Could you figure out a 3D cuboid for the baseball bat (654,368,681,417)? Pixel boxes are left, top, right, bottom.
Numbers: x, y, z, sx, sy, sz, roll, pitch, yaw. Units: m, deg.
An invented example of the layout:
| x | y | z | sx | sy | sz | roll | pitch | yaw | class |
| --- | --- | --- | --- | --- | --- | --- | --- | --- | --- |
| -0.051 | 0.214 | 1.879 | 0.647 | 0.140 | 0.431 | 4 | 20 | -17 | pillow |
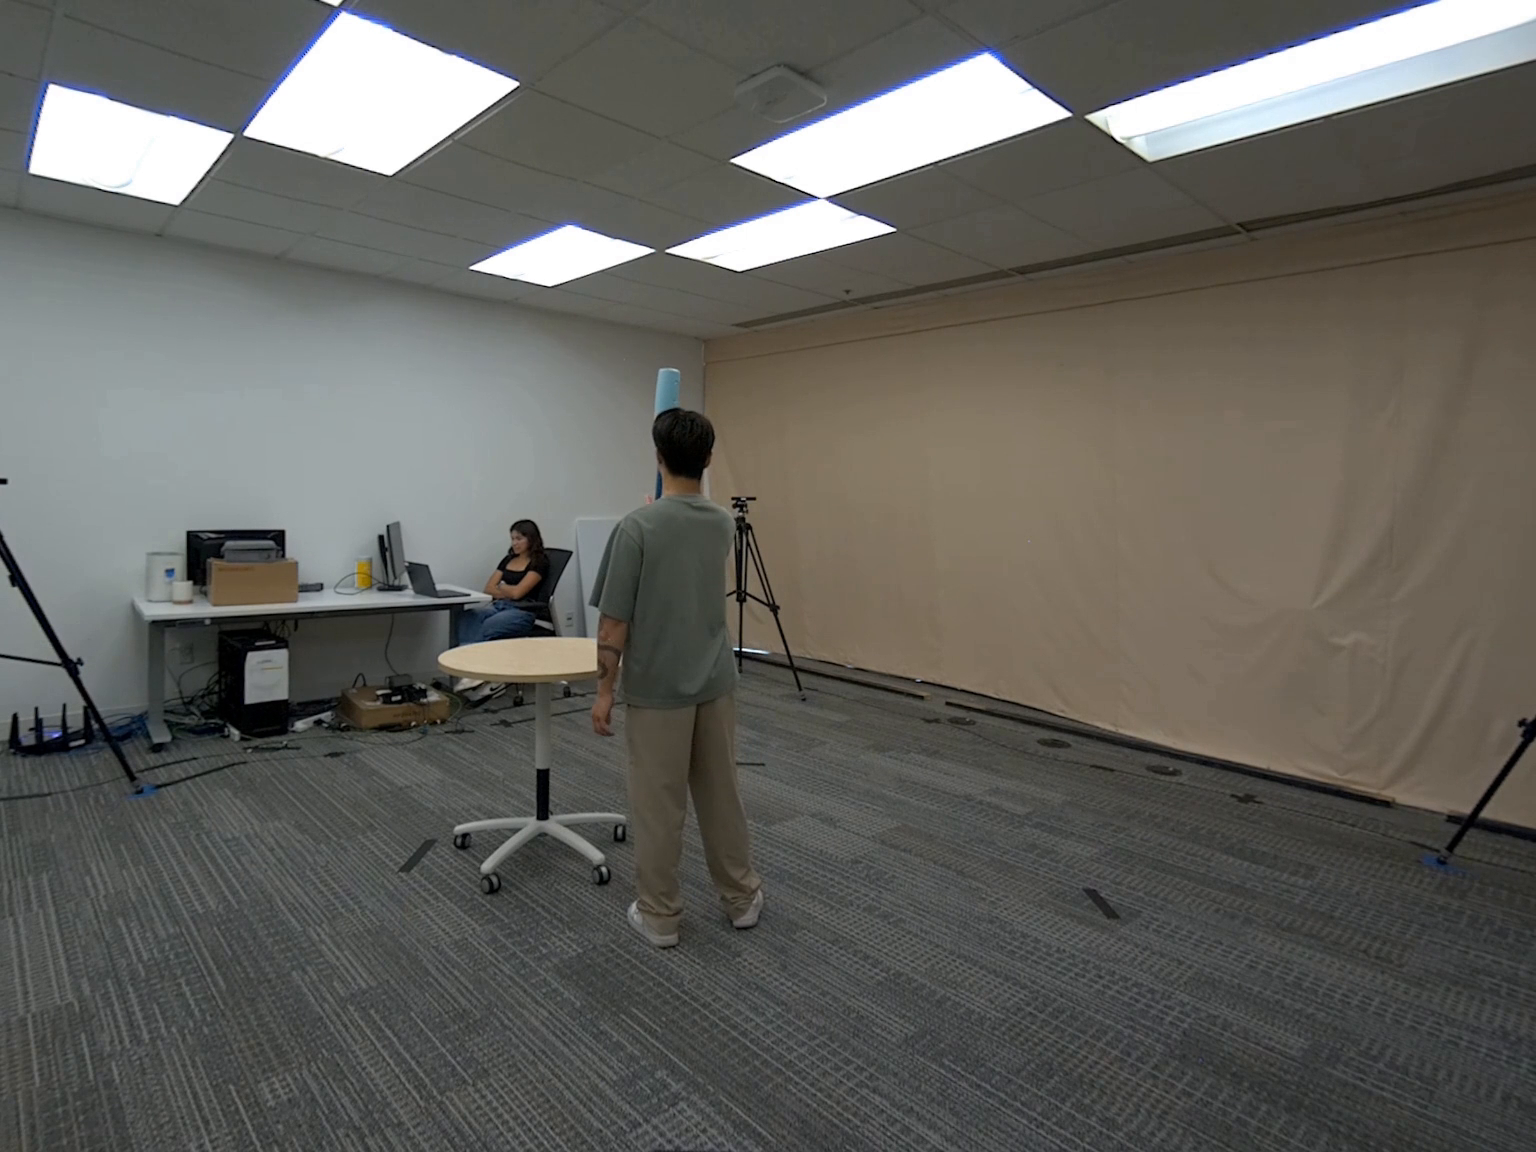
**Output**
| x | y | z | sx | sy | sz | roll | pitch | yaw | class |
| --- | --- | --- | --- | --- | --- | --- | --- | --- | --- |
| -0.405 | -0.532 | 3.252 | 0.089 | 0.542 | 0.089 | 4 | 2 | -2 | baseball bat |
